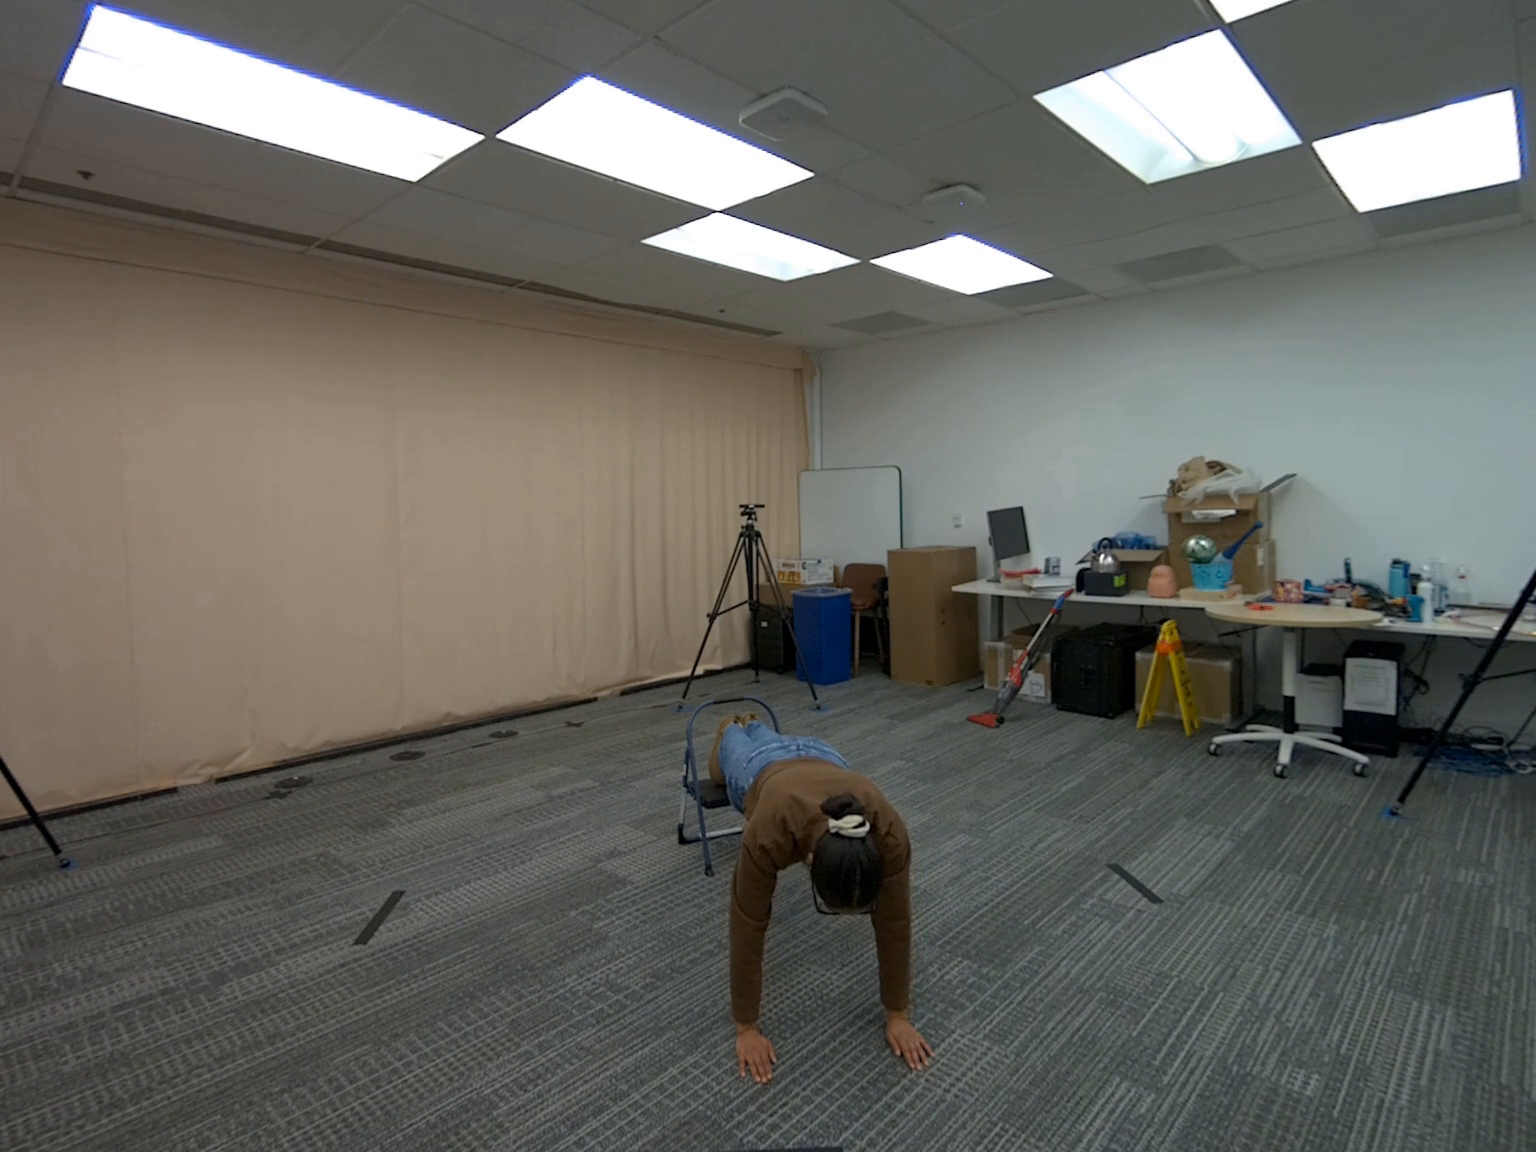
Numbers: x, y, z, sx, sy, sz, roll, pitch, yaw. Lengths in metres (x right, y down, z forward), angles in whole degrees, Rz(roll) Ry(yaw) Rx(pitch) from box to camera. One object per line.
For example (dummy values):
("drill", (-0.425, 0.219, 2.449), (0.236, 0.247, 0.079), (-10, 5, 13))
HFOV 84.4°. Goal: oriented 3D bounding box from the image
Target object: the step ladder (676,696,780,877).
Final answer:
("step ladder", (-0.118, 0.807, 3.389), (0.420, 0.605, 0.358), (-3, 3, -25))
